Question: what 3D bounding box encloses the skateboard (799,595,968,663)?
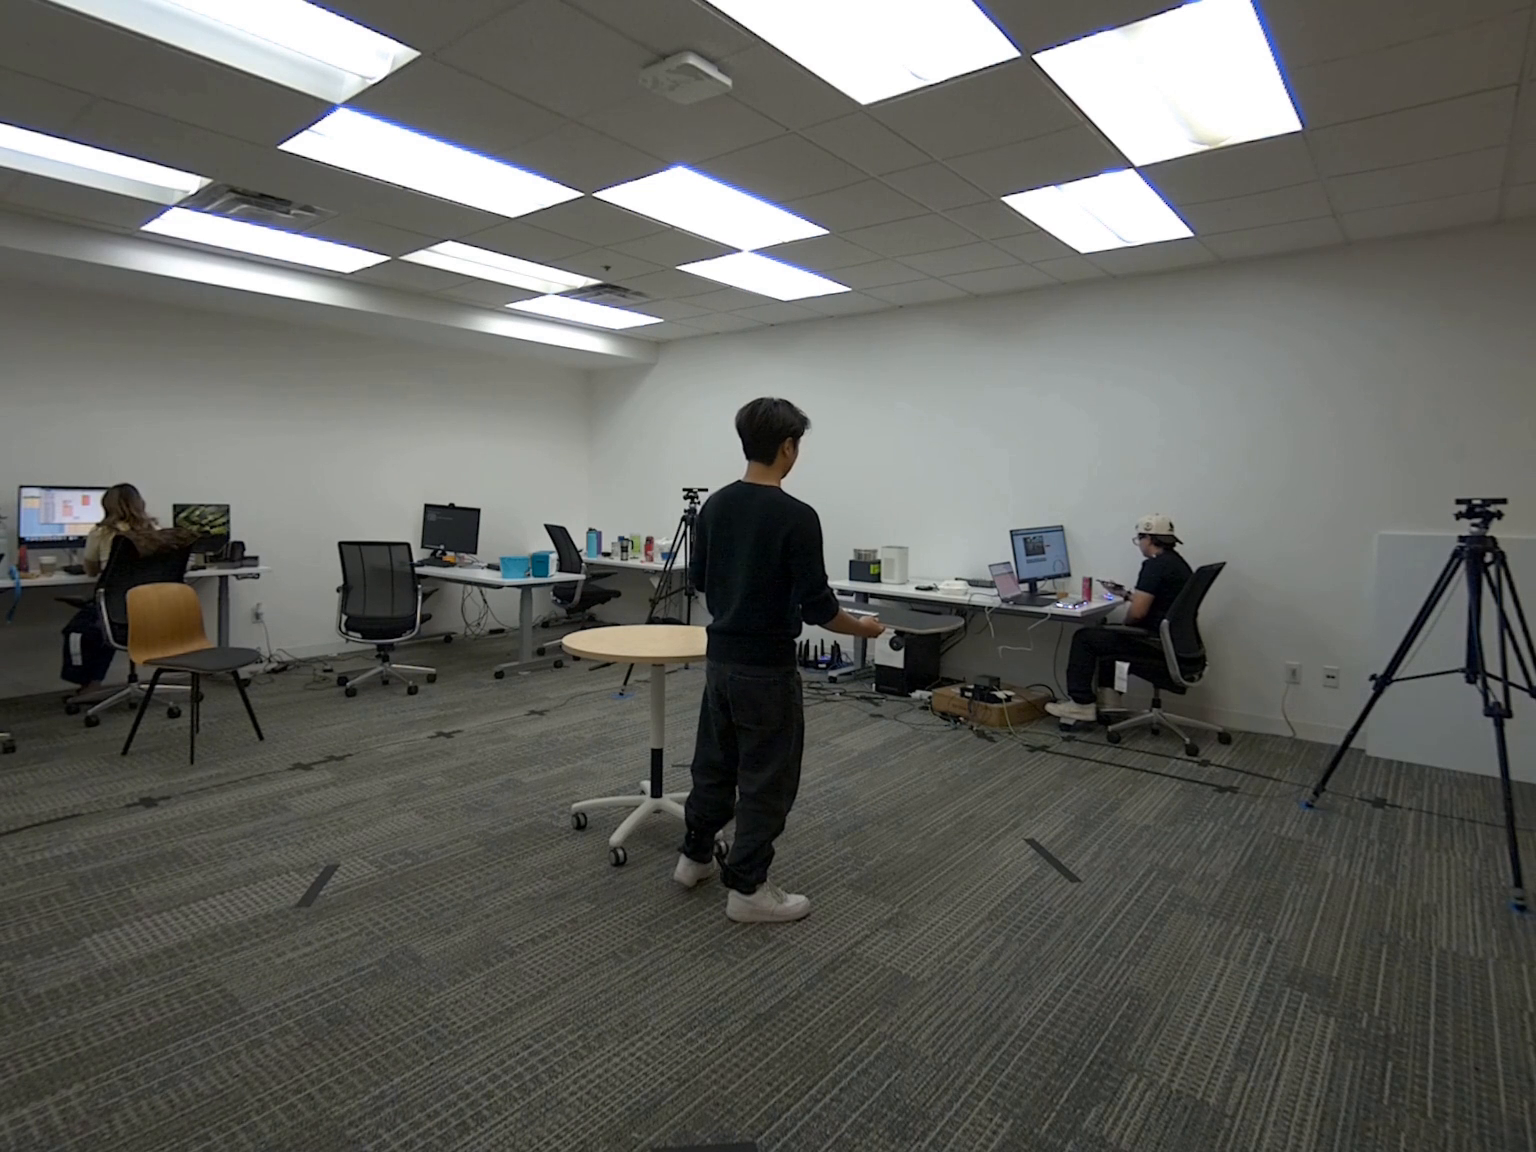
[{"bbox_3d":[0.281,0.156,2.981,0.809,0.109,0.190,7,18,28],"label":"skateboard"}]
